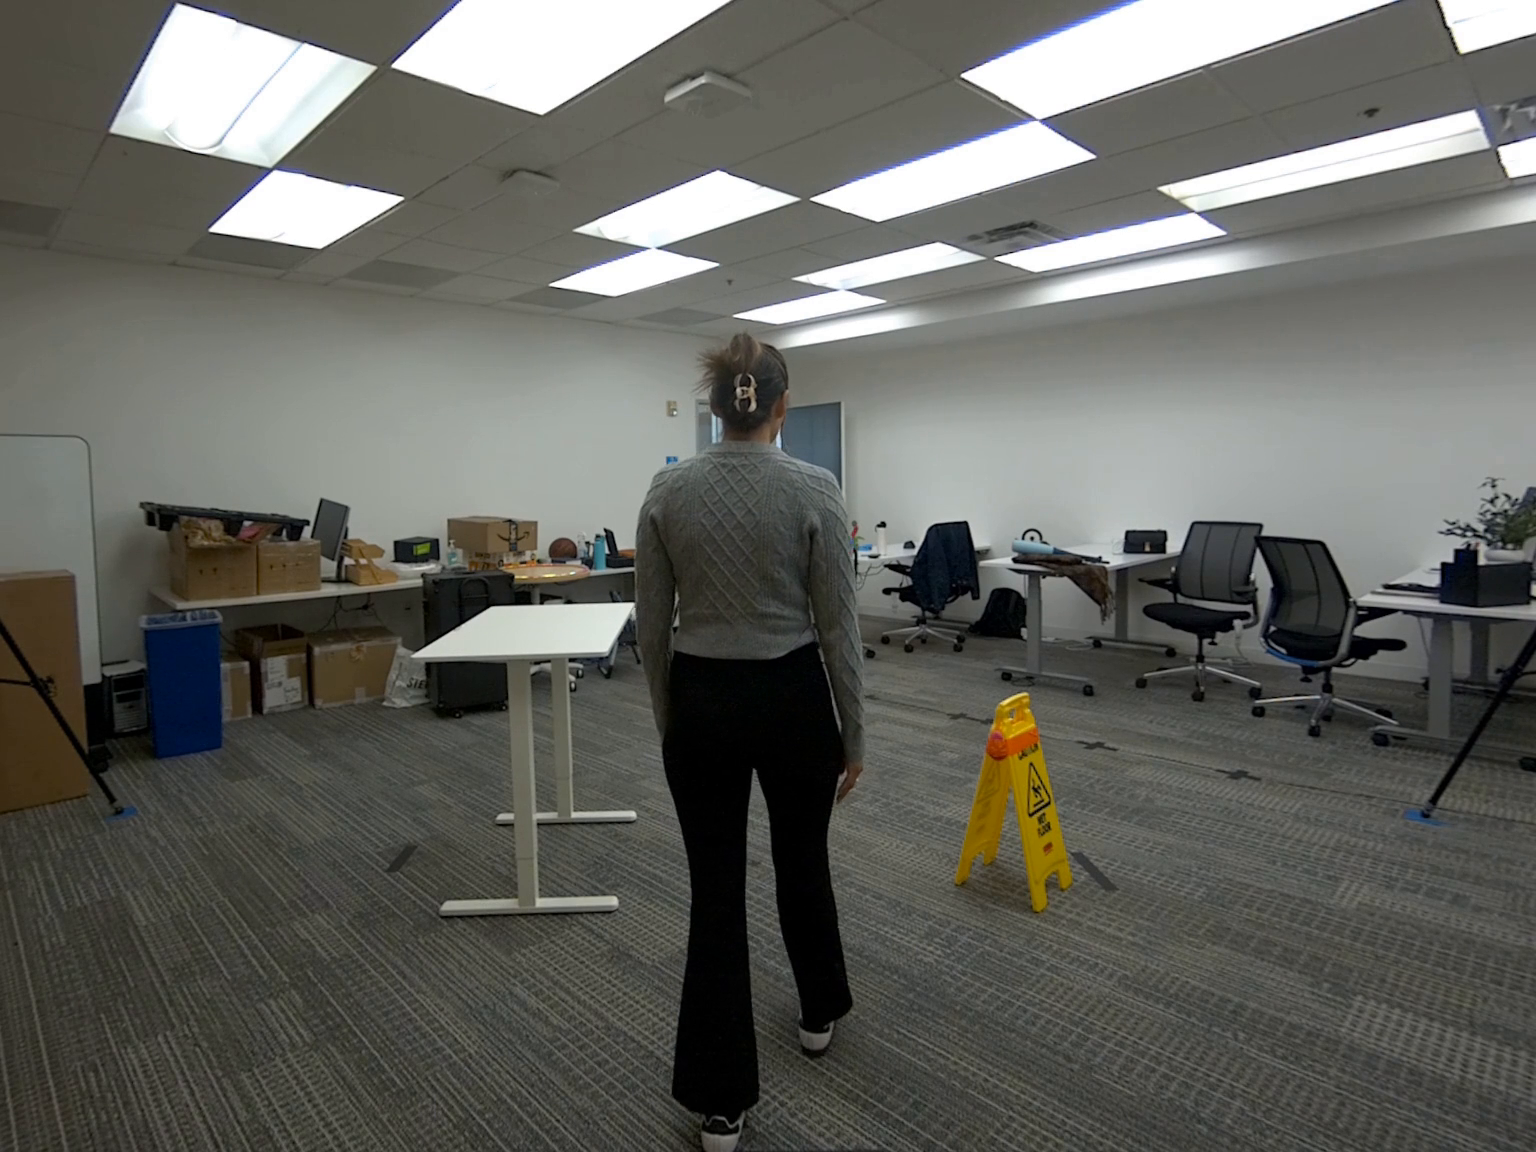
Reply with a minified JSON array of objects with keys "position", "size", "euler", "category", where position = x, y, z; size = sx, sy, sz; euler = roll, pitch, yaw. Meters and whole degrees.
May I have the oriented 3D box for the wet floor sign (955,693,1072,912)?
[{"position":[0.838,0.733,2.891],"size":[0.298,0.643,0.275],"euler":[3,6,42],"category":"wet floor sign"}]
